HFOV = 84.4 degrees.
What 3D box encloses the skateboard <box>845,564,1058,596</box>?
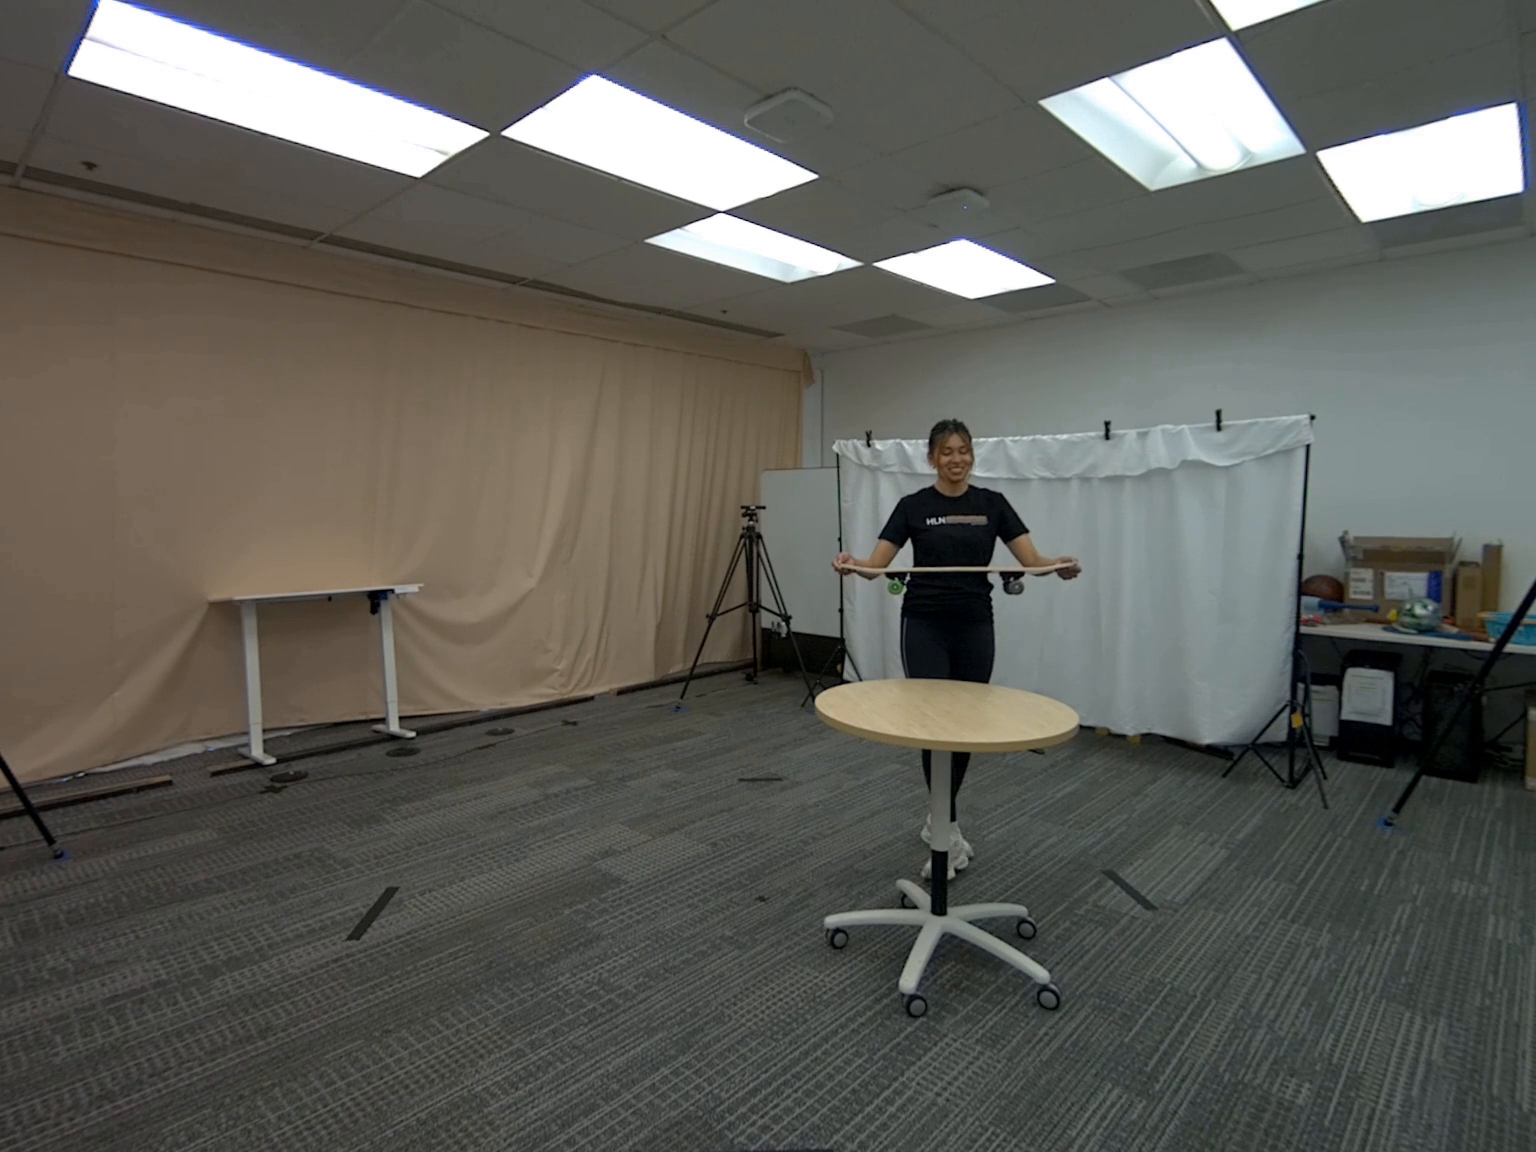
[{"bbox_3d":[0.647,0.010,2.960,0.795,0.110,0.191,0,5,11],"label":"skateboard"}]
